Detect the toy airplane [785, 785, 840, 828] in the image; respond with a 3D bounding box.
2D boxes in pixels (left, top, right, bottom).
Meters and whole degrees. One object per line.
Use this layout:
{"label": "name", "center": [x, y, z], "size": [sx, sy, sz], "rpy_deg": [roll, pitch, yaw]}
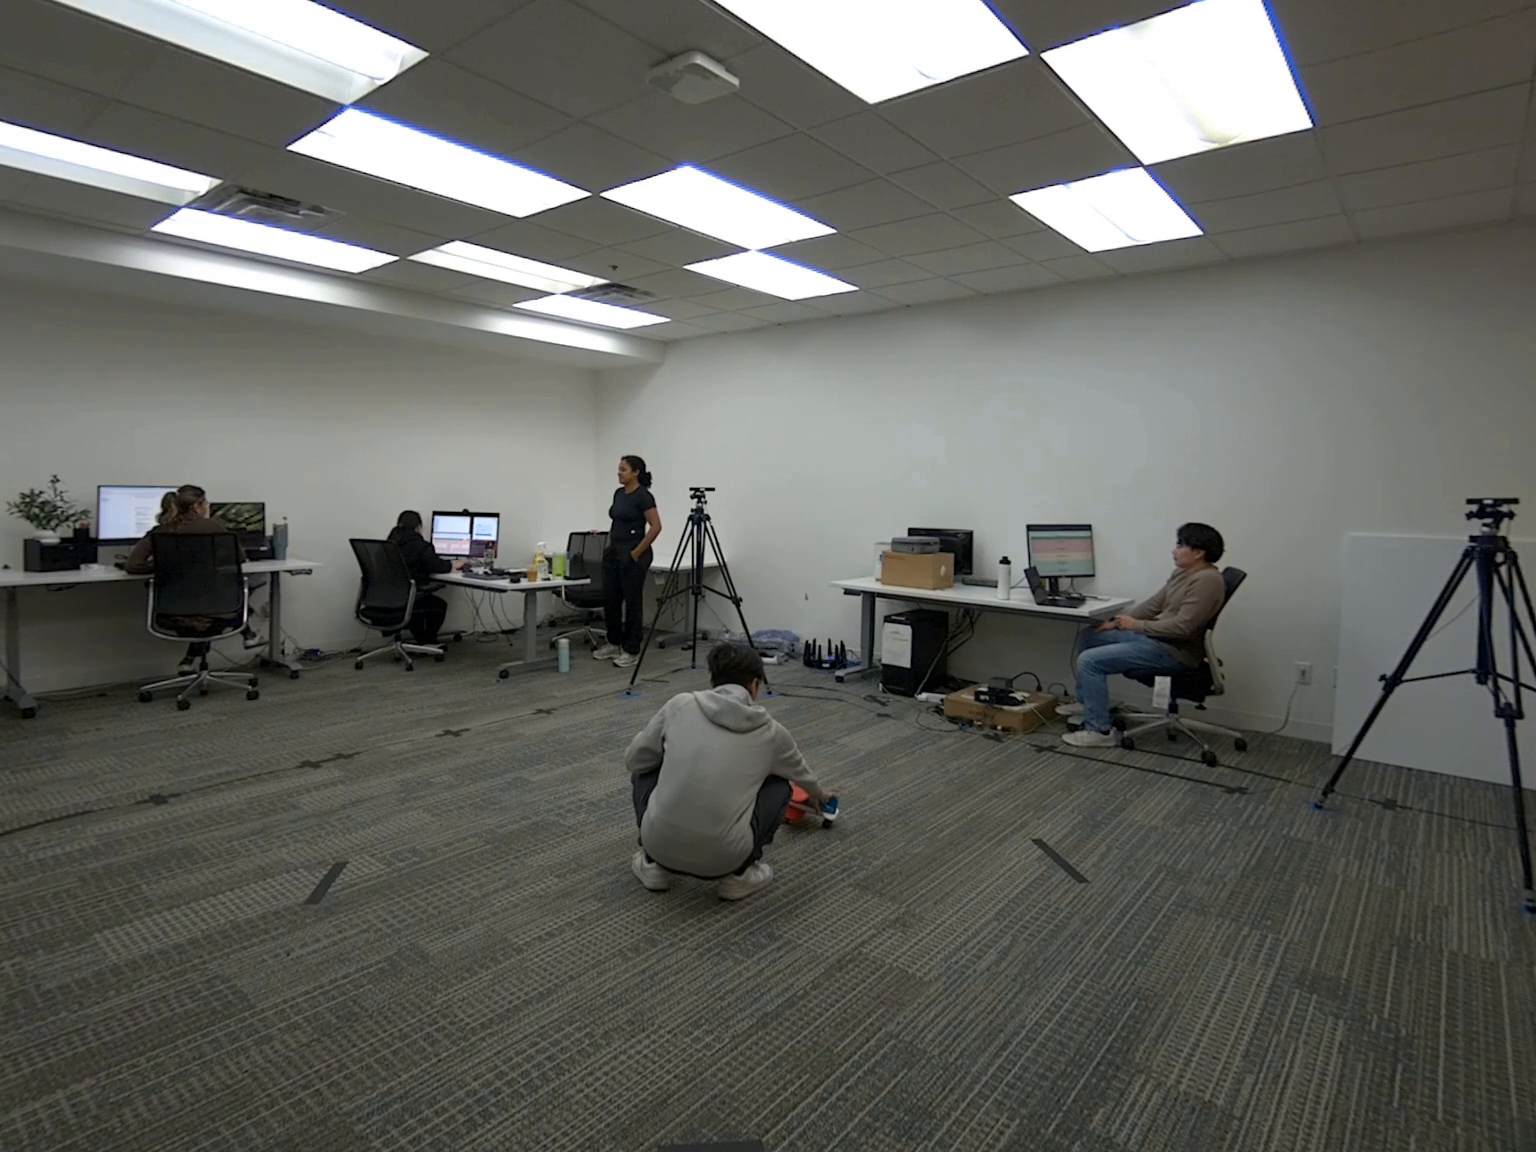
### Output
{"label": "toy airplane", "center": [0.155, 0.955, 3.584], "size": [0.257, 0.156, 0.254], "rpy_deg": [-1, 5, -9]}
